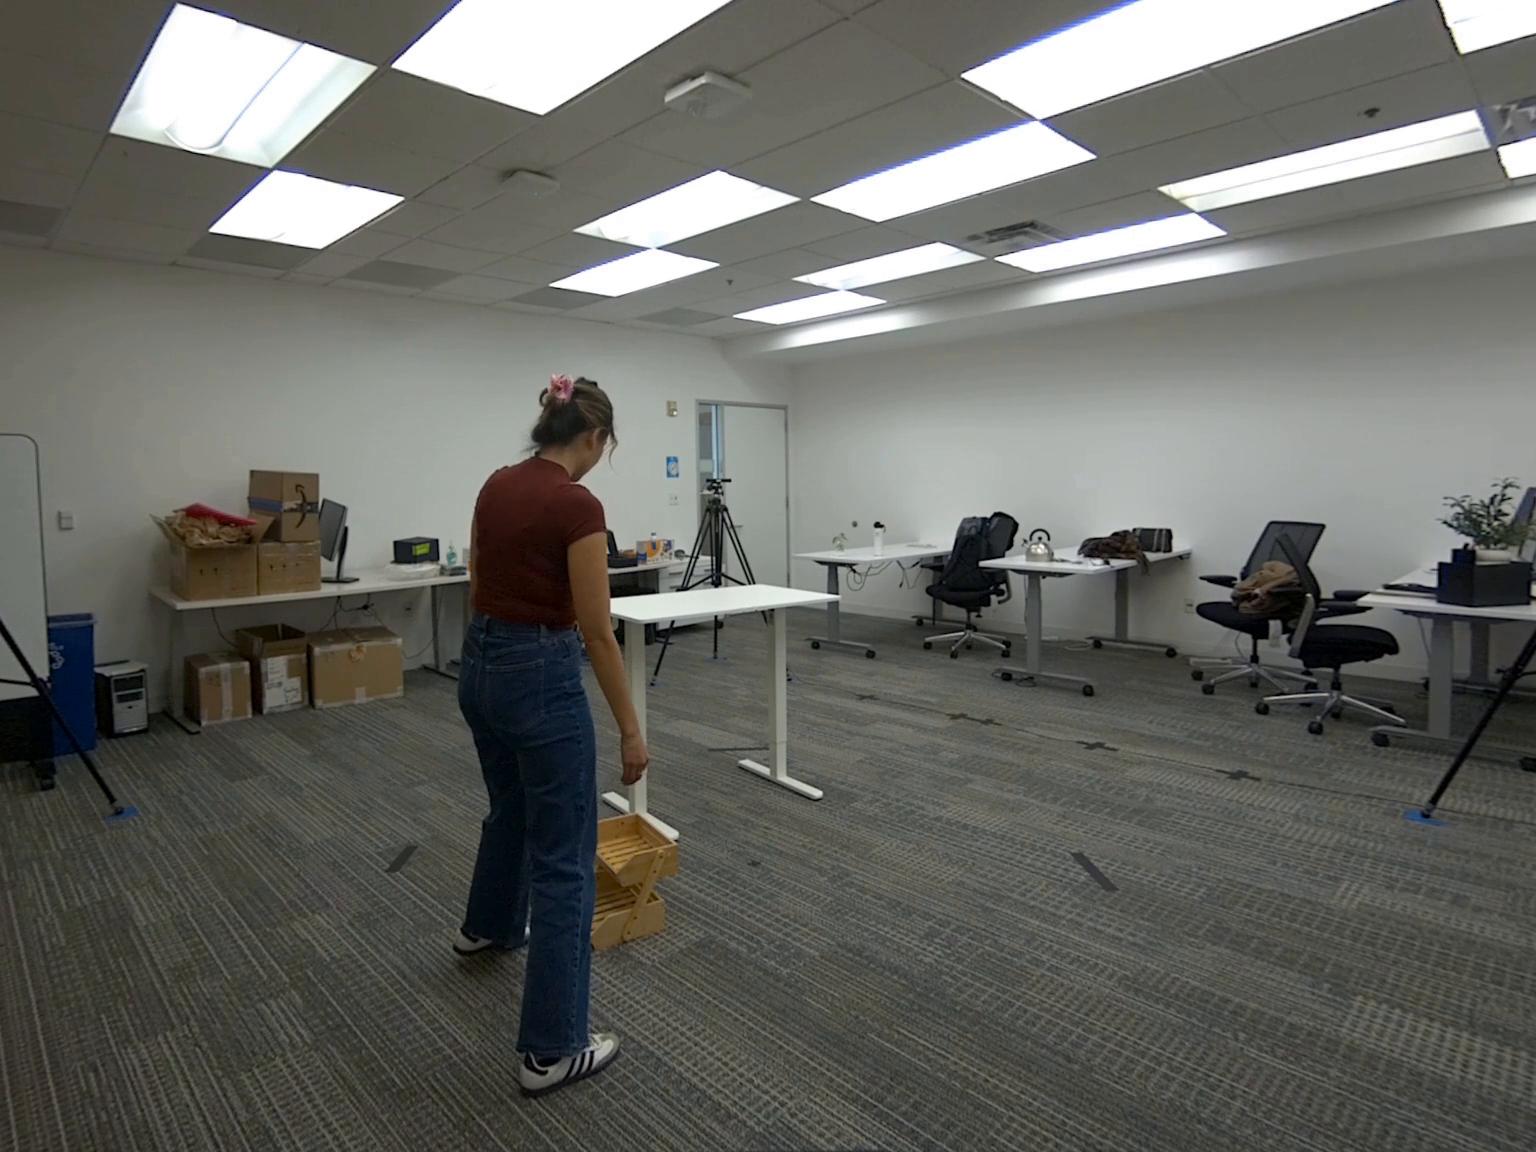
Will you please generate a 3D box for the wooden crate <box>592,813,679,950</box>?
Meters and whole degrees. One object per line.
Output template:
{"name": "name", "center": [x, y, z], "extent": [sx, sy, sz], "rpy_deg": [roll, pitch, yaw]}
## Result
{"name": "wooden crate", "center": [-0.484, 0.962, 2.735], "extent": [0.295, 0.272, 0.334], "rpy_deg": [-4, 6, -31]}
